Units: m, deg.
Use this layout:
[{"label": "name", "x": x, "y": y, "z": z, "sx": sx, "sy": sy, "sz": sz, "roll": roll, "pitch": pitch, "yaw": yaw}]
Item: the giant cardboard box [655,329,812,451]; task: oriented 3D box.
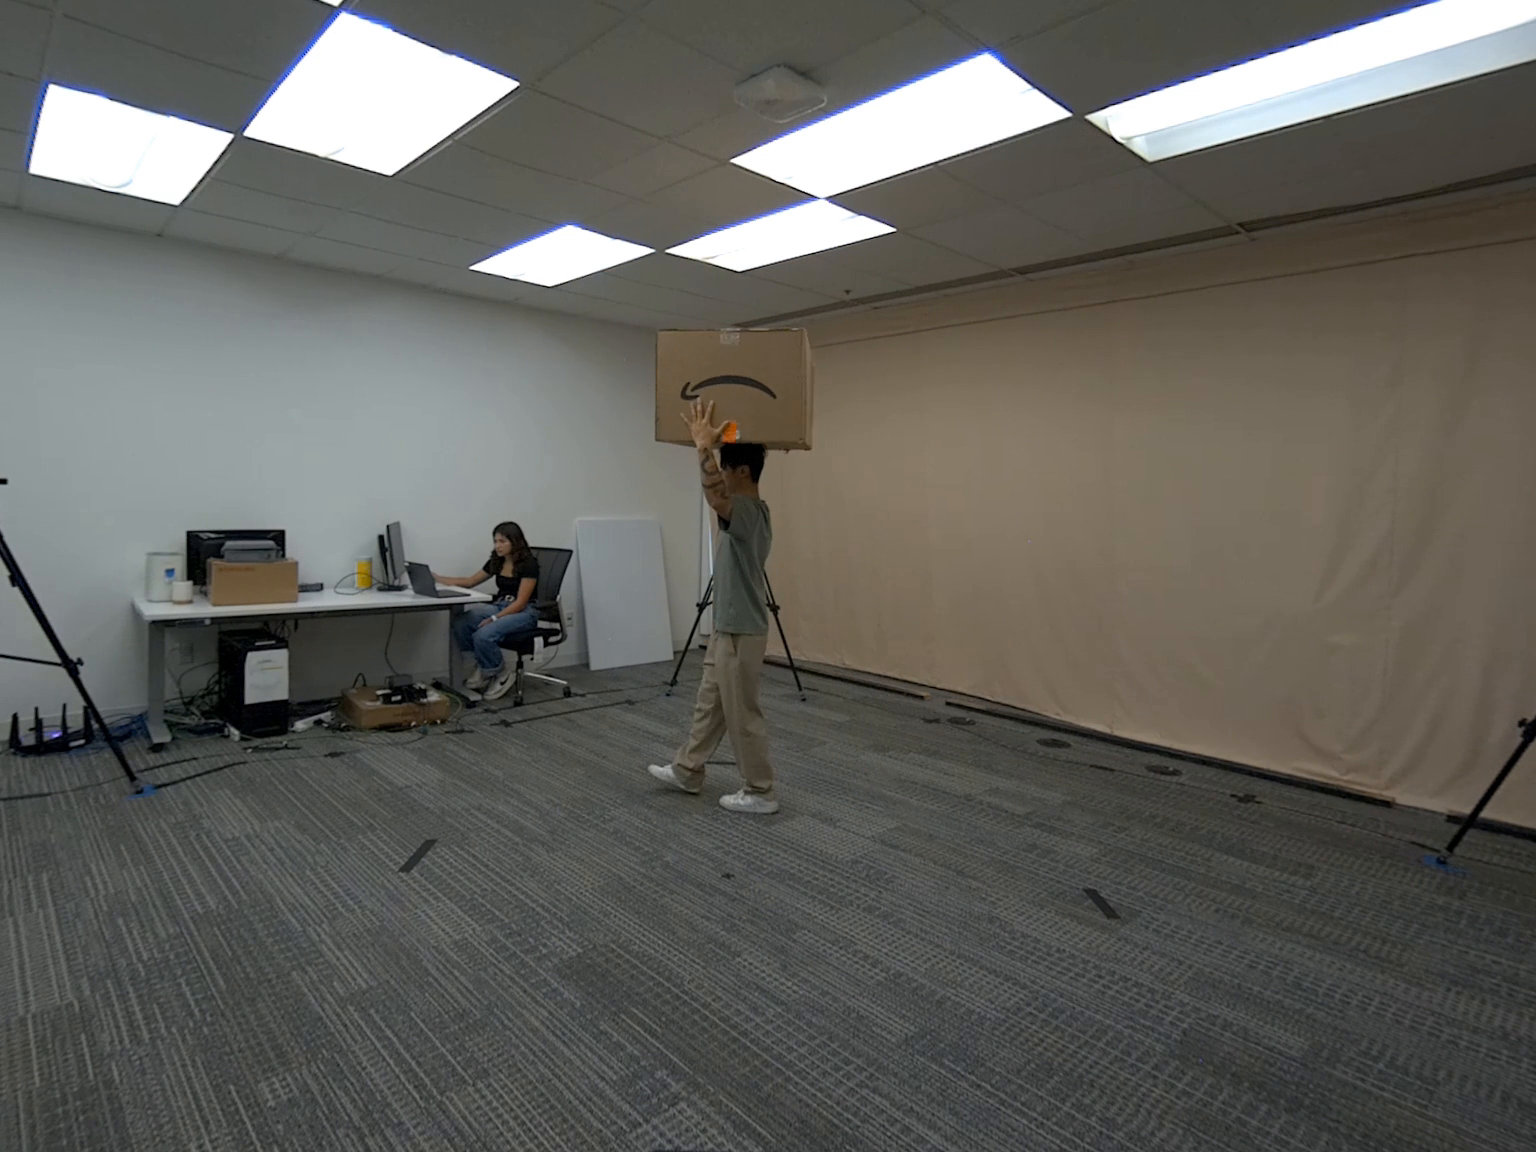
[{"label": "giant cardboard box", "x": -0.114, "y": -0.785, "z": 3.692, "sx": 0.580, "sy": 0.424, "sz": 1.025, "roll": 2, "pitch": 7, "yaw": 5}]
